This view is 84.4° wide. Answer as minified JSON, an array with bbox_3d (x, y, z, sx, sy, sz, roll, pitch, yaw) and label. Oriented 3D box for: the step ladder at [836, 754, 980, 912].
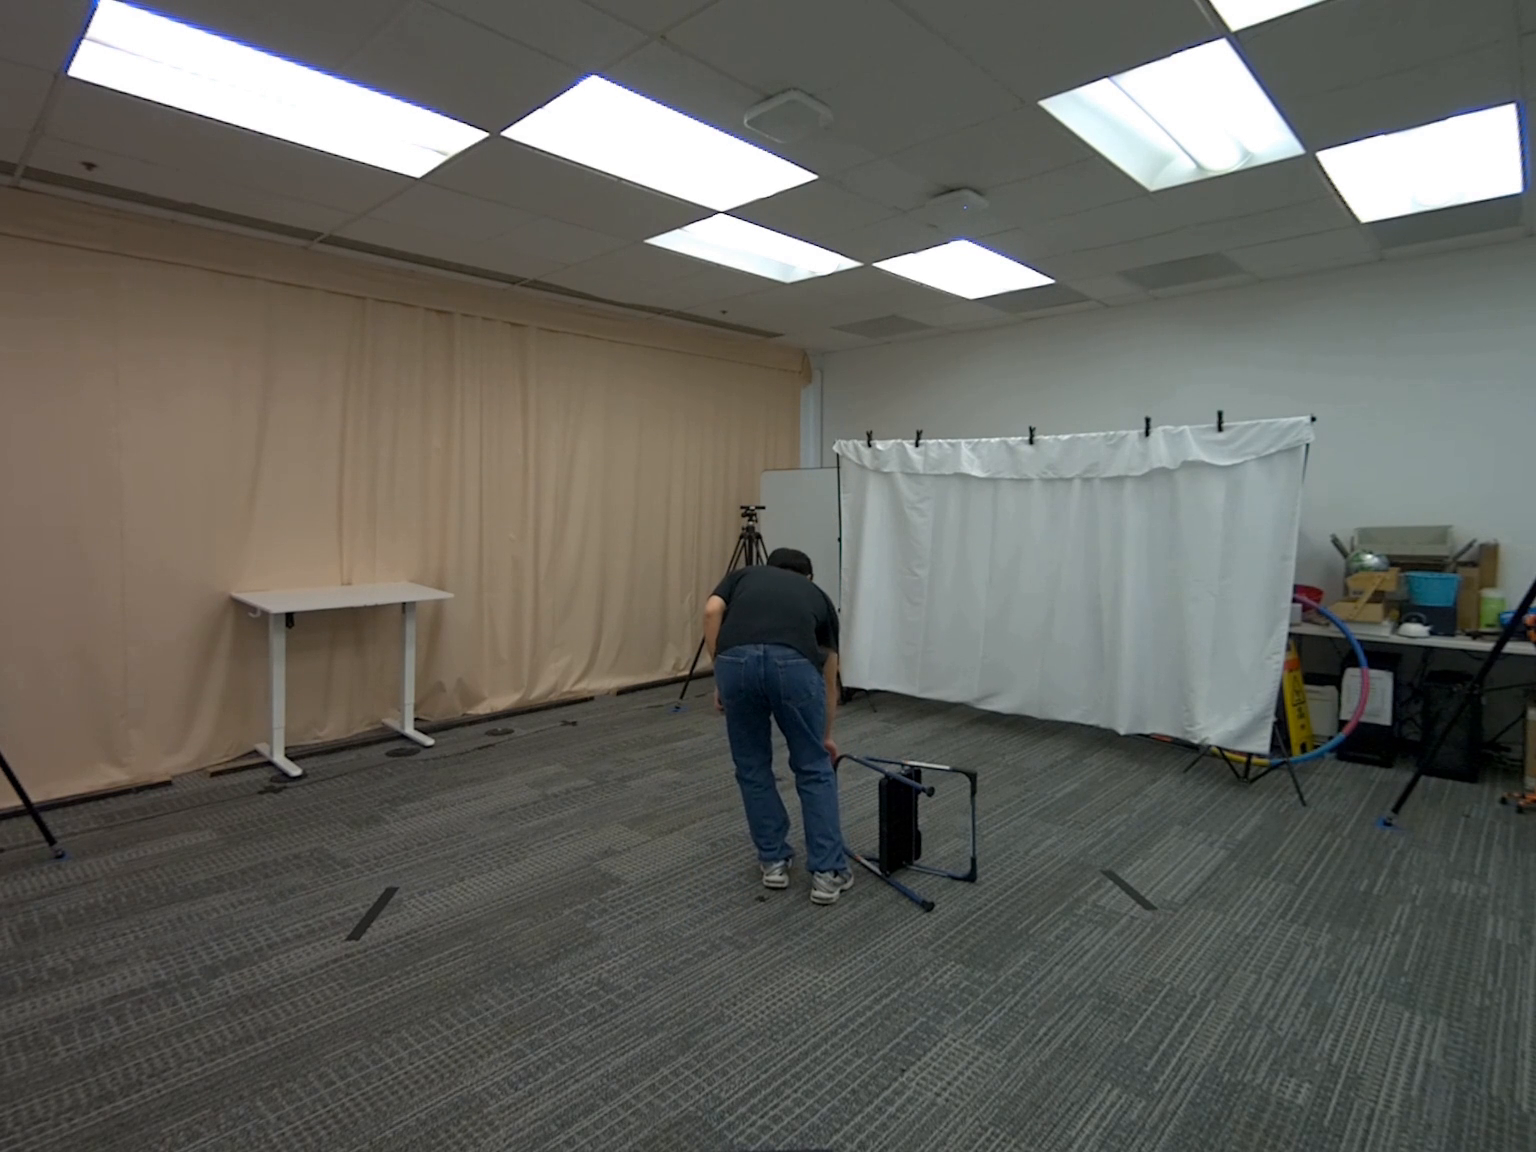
[{"bbox_3d":[0.445,0.914,3.193,0.626,0.430,0.338,3,3,44],"label":"step ladder"}]
